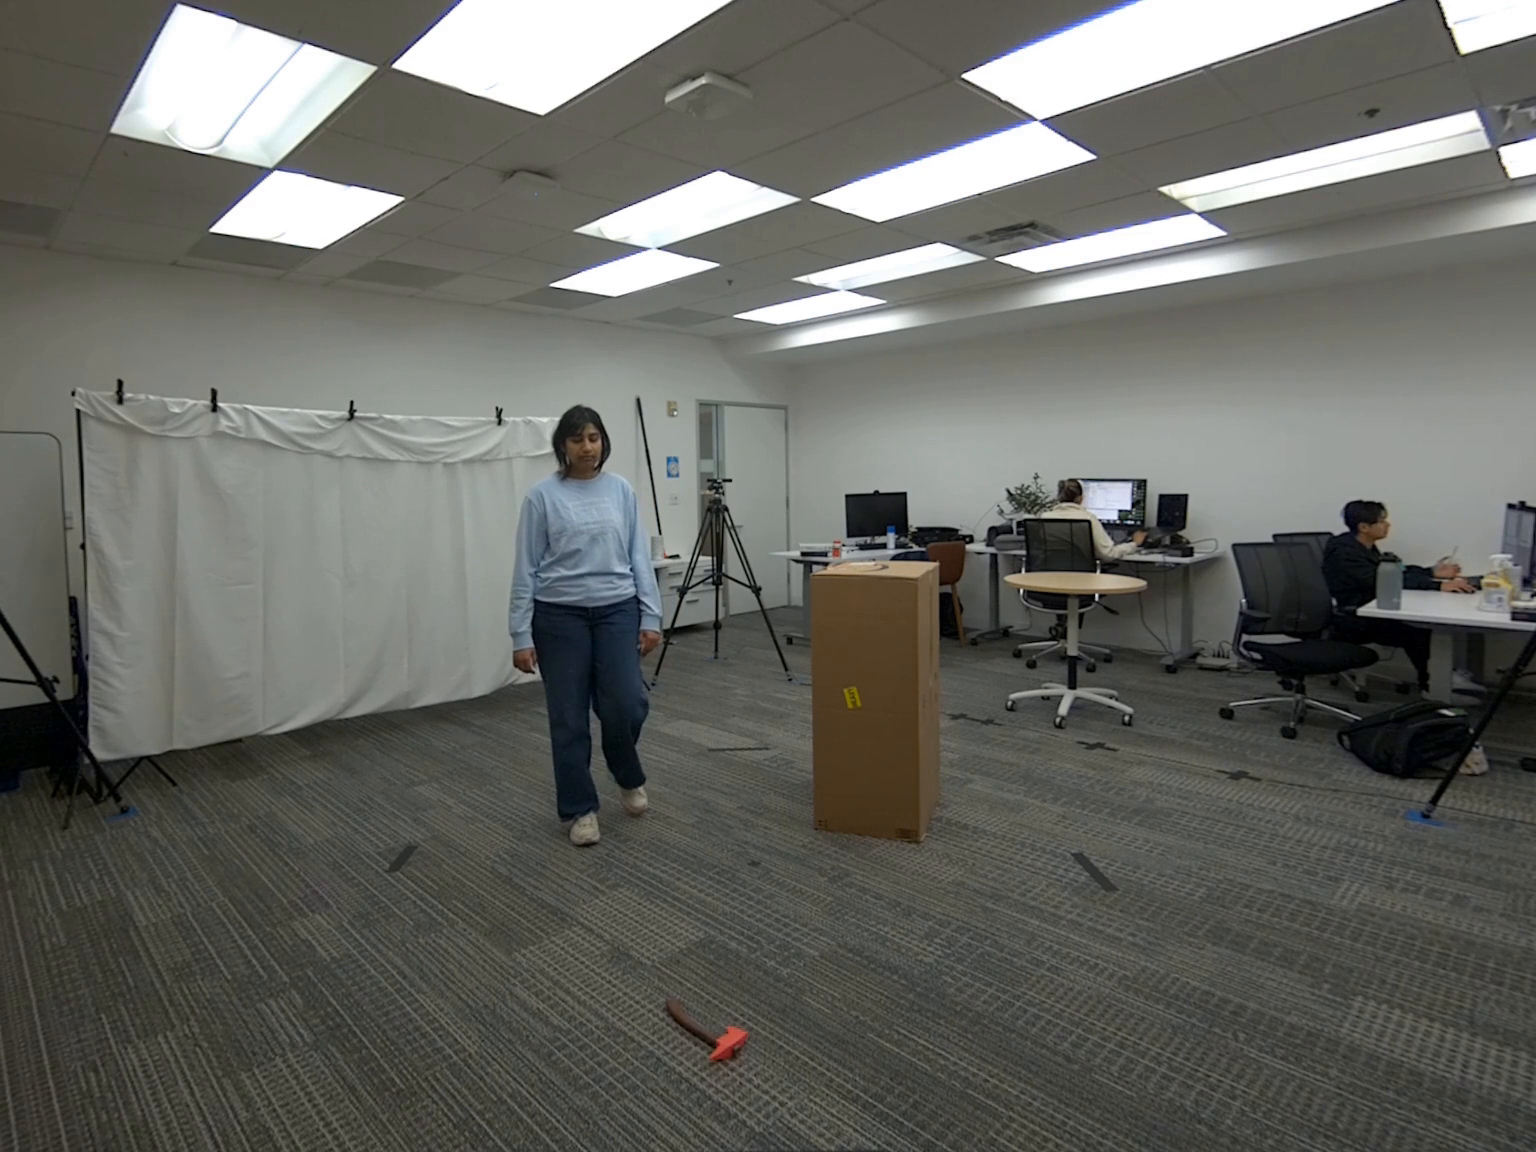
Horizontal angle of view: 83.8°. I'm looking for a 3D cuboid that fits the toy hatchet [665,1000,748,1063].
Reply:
[{"bbox_3d":[-0.143,1.153,2.177,0.128,0.029,0.277,-6,6,-29],"label":"toy hatchet"}]
